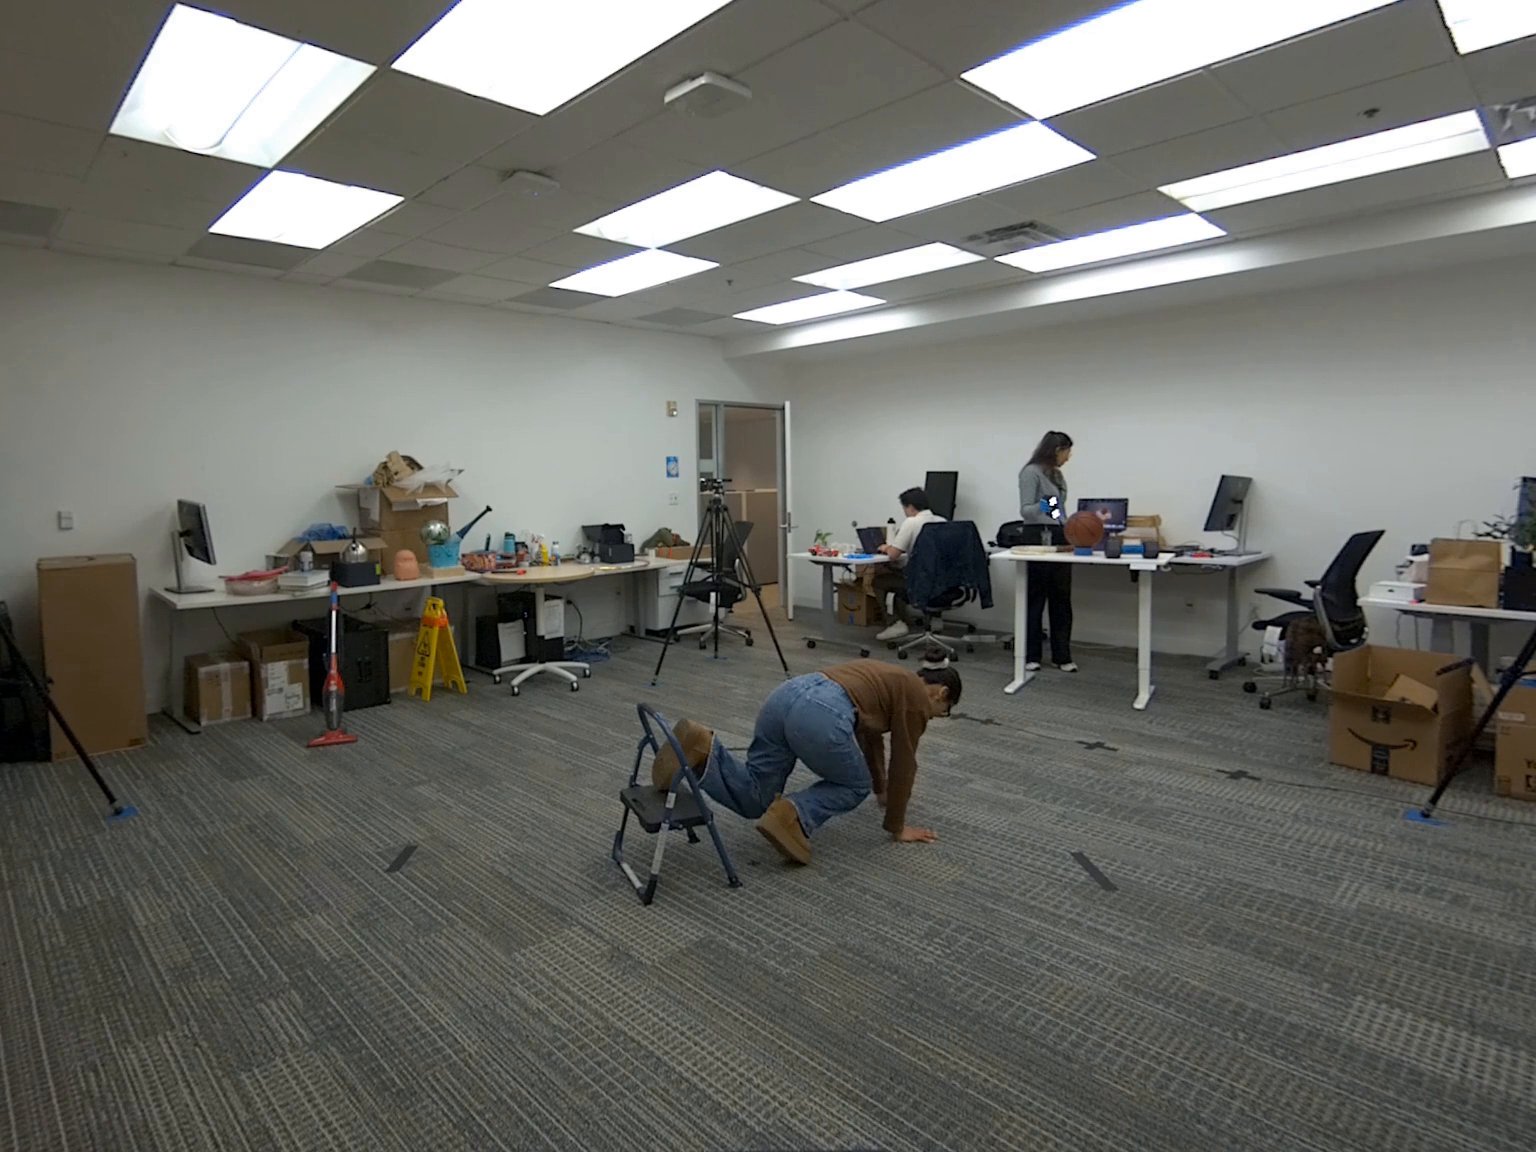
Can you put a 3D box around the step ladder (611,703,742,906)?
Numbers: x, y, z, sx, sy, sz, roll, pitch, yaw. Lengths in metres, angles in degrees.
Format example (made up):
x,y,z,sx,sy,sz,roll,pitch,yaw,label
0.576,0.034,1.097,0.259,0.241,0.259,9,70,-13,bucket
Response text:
x,y,z,sx,sy,sz,roll,pitch,yaw,label
-0.341,0.756,3.042,0.342,0.604,0.441,-2,5,-25,step ladder
